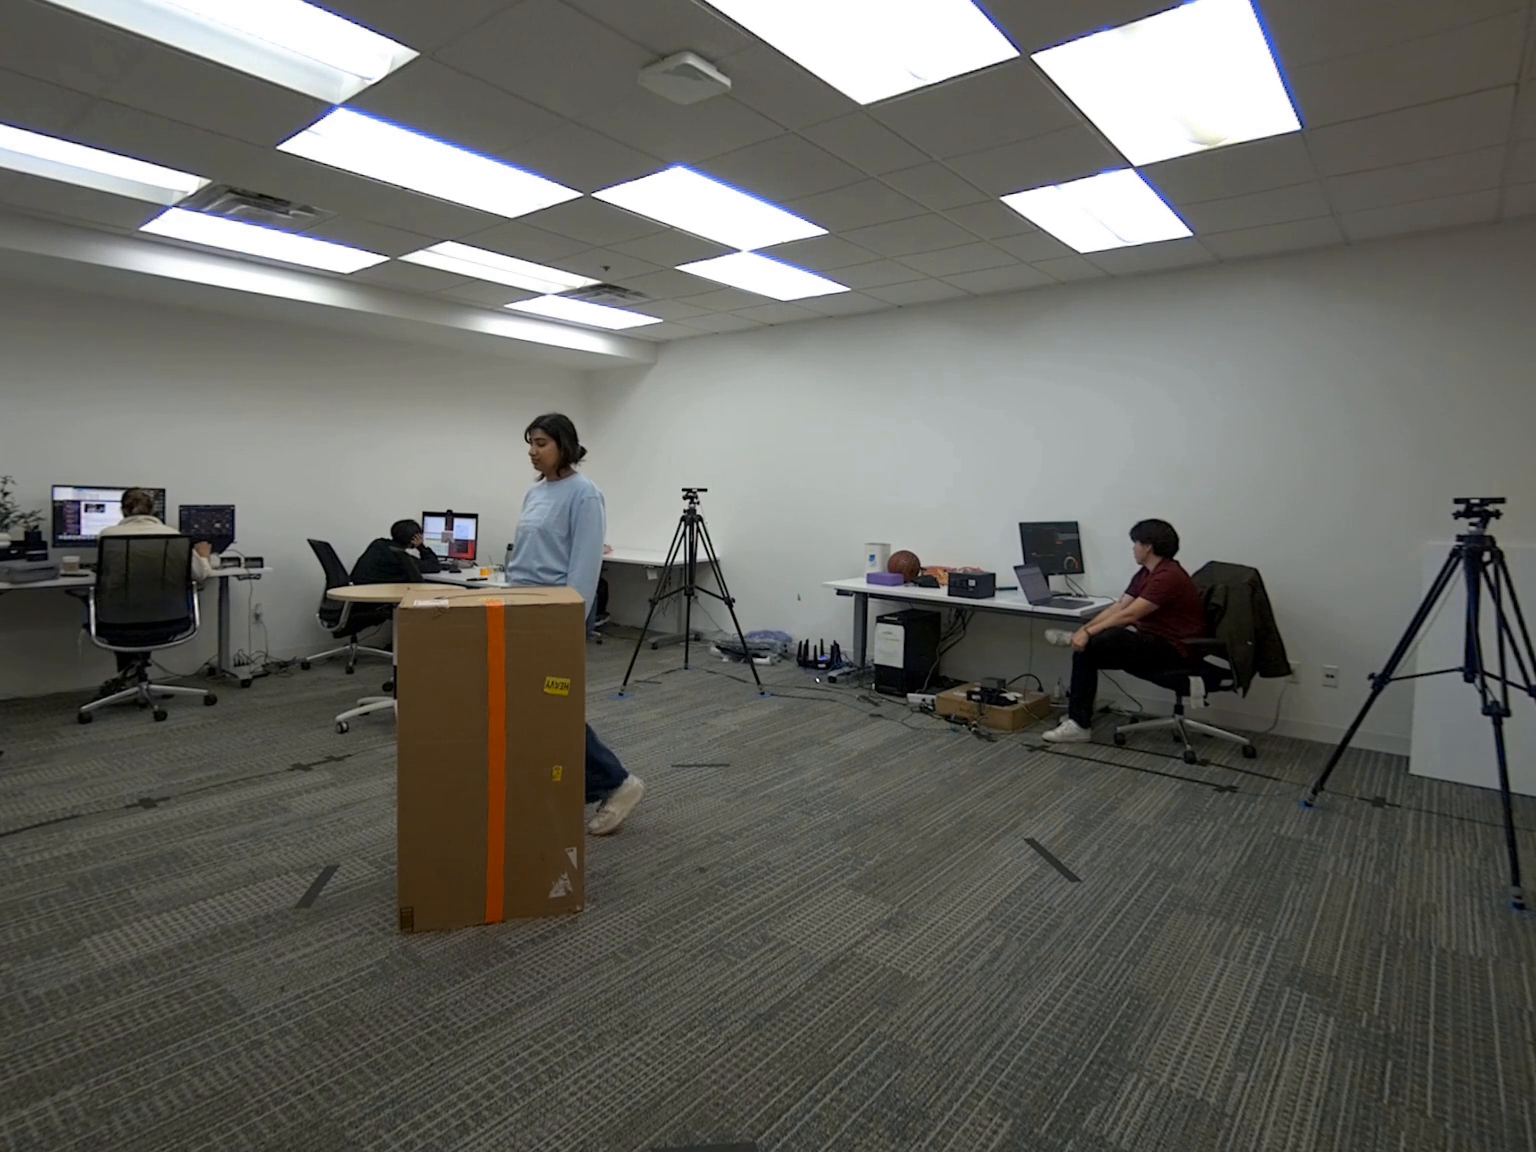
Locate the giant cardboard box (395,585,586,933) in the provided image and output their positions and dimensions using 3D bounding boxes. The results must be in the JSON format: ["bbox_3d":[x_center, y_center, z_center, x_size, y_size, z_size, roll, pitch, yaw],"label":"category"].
[{"bbox_3d":[-0.946,0.574,2.869,0.567,1.023,0.435,-1,4,-19],"label":"giant cardboard box"}]
